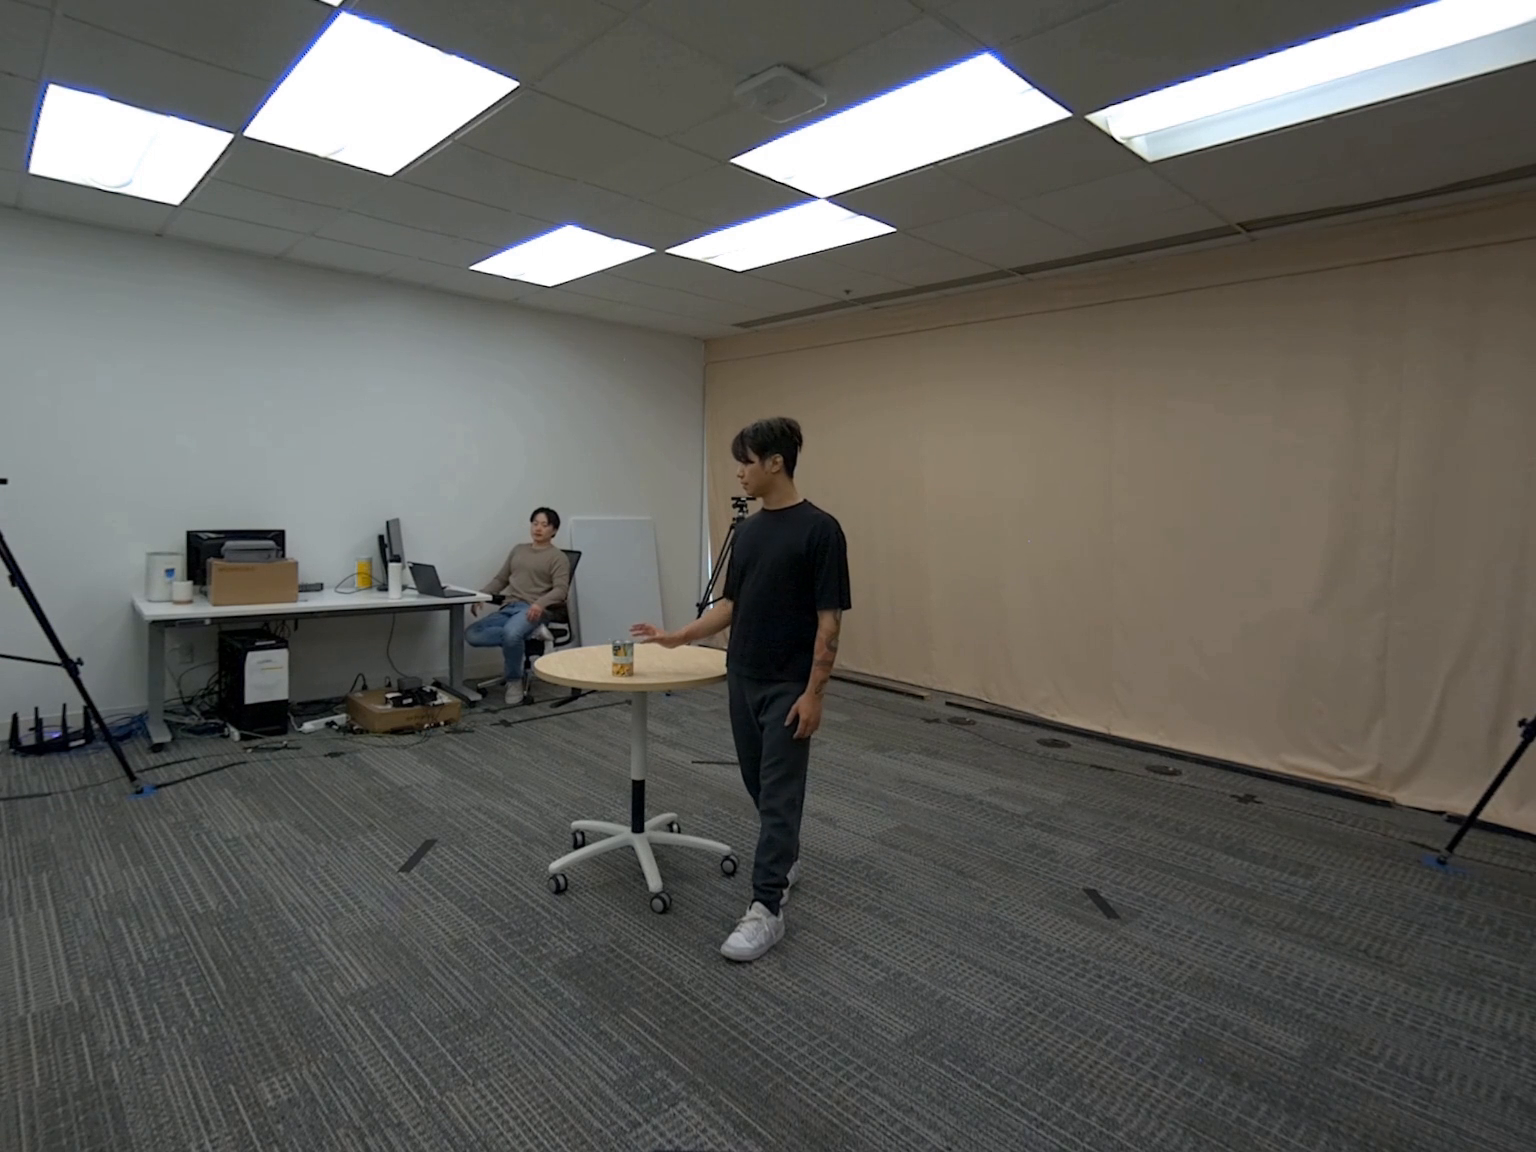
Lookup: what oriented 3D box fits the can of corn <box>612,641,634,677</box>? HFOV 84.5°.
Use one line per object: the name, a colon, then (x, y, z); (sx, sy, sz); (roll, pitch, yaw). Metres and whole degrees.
can of corn: (-0.493, 0.281, 2.860); (0.074, 0.110, 0.074); (-1, 6, -1)
